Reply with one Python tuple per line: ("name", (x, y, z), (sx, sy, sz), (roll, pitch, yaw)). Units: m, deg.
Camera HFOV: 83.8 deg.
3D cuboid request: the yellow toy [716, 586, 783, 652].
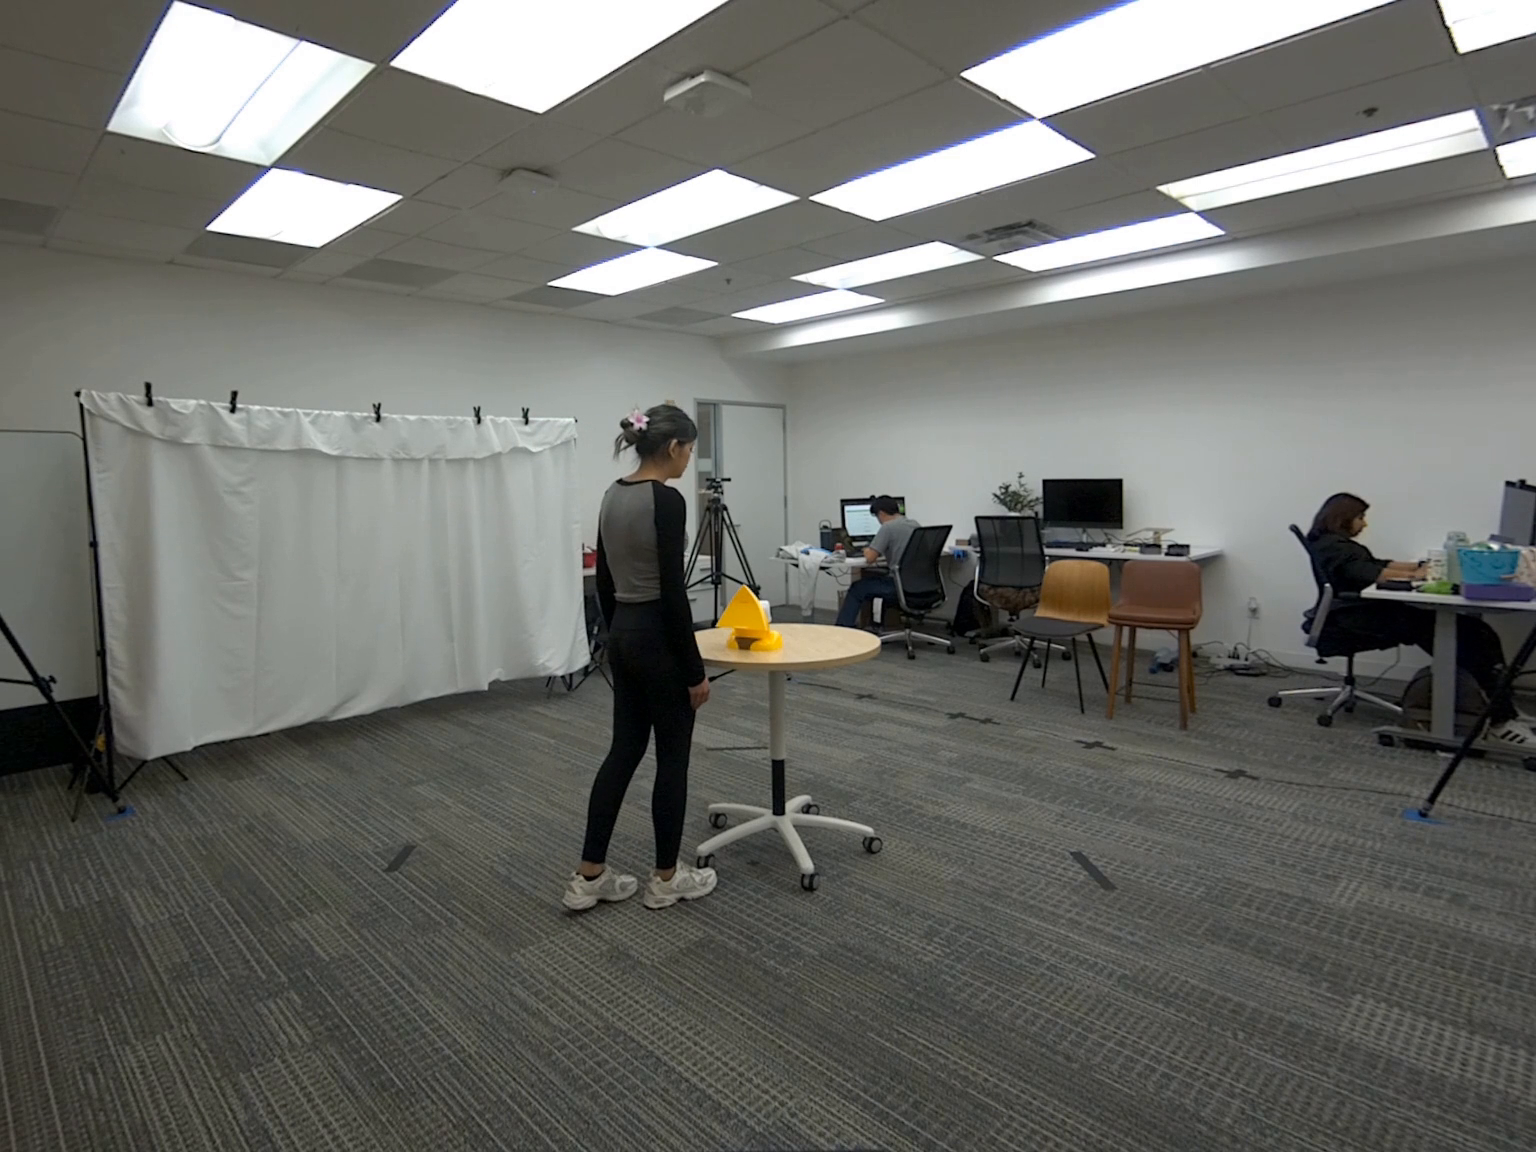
("yellow toy", (-0.054, 0.138, 3.067), (0.210, 0.230, 0.189), (2, 5, 29))
